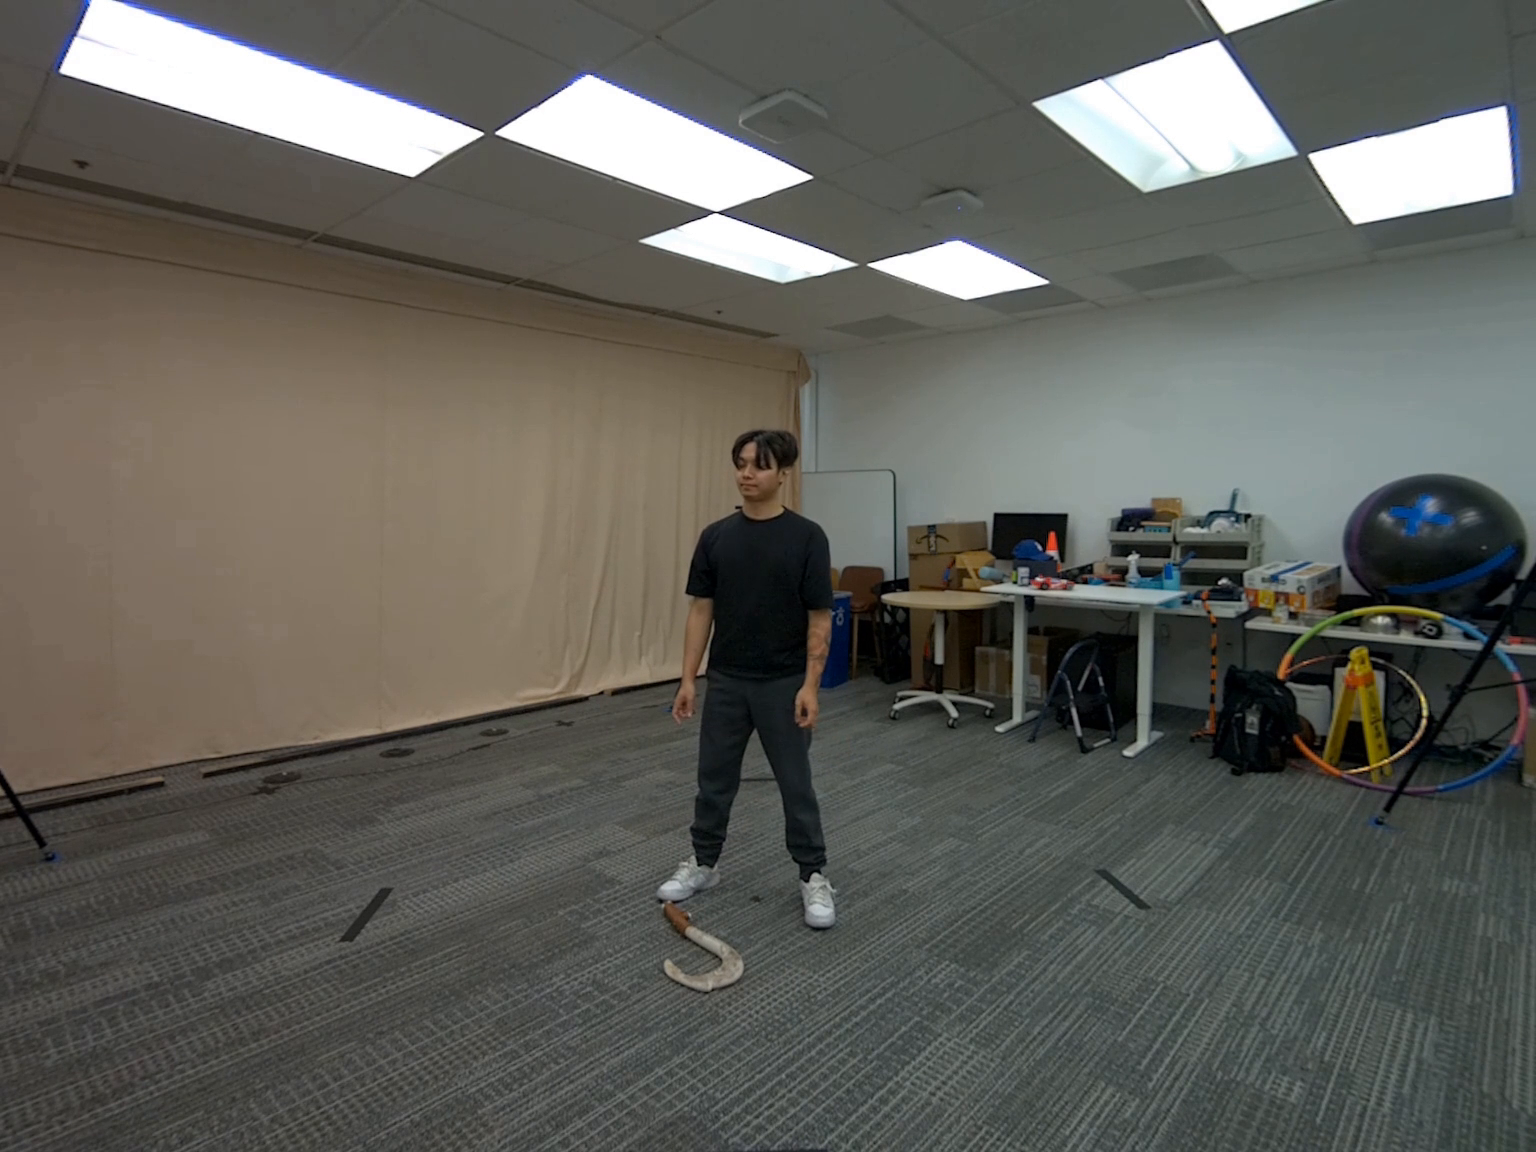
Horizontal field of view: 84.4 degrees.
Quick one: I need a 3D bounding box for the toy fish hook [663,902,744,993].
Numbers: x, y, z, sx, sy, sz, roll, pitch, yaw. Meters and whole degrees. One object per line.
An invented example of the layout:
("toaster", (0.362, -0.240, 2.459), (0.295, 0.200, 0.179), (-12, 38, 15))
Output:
("toy fish hook", (-0.261, 1.150, 2.640), (0.218, 0.048, 0.521), (-1, 4, -31))
